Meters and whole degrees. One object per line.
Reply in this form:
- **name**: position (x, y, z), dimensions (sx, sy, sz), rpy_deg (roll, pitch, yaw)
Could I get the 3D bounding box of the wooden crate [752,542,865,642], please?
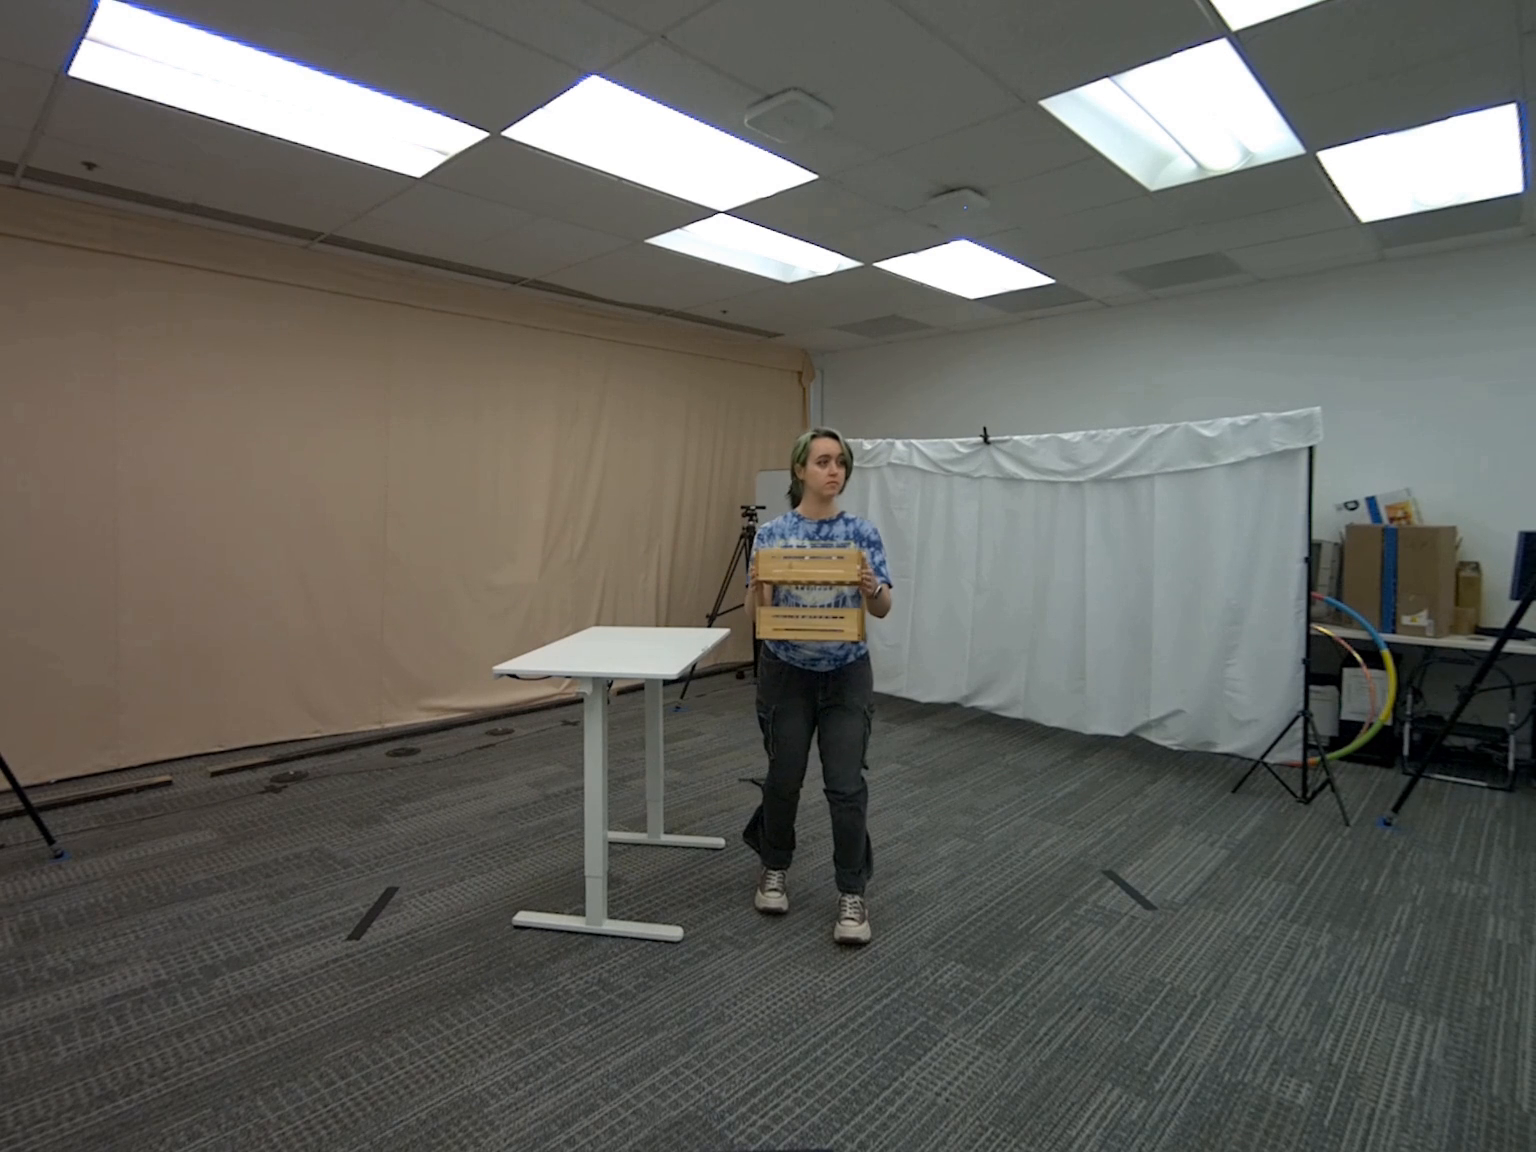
- **wooden crate**: position (0.133, 0.064, 2.545), dimensions (0.327, 0.274, 0.299), rpy_deg (1, -5, 6)
